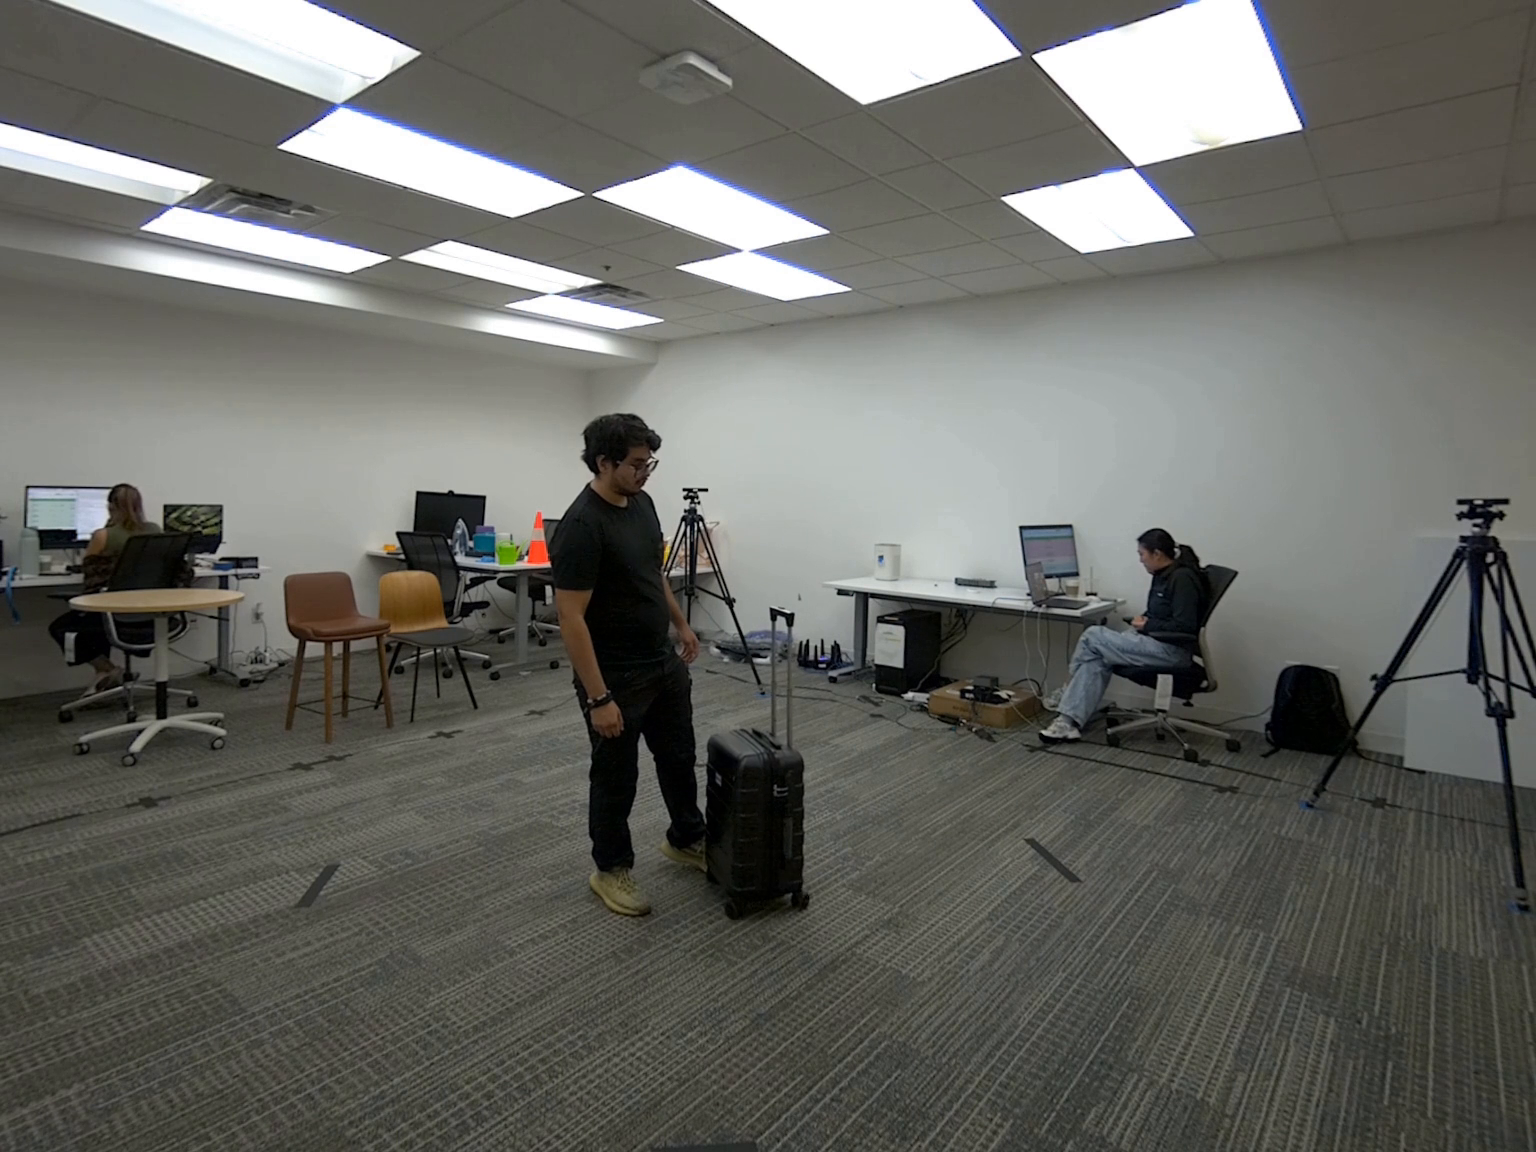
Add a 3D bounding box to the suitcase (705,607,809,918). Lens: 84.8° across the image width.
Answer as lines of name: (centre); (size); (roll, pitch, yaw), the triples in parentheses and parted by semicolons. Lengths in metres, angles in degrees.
suitcase: (-0.056, 0.615, 2.889); (0.252, 0.975, 0.392); (-1, 4, -19)
